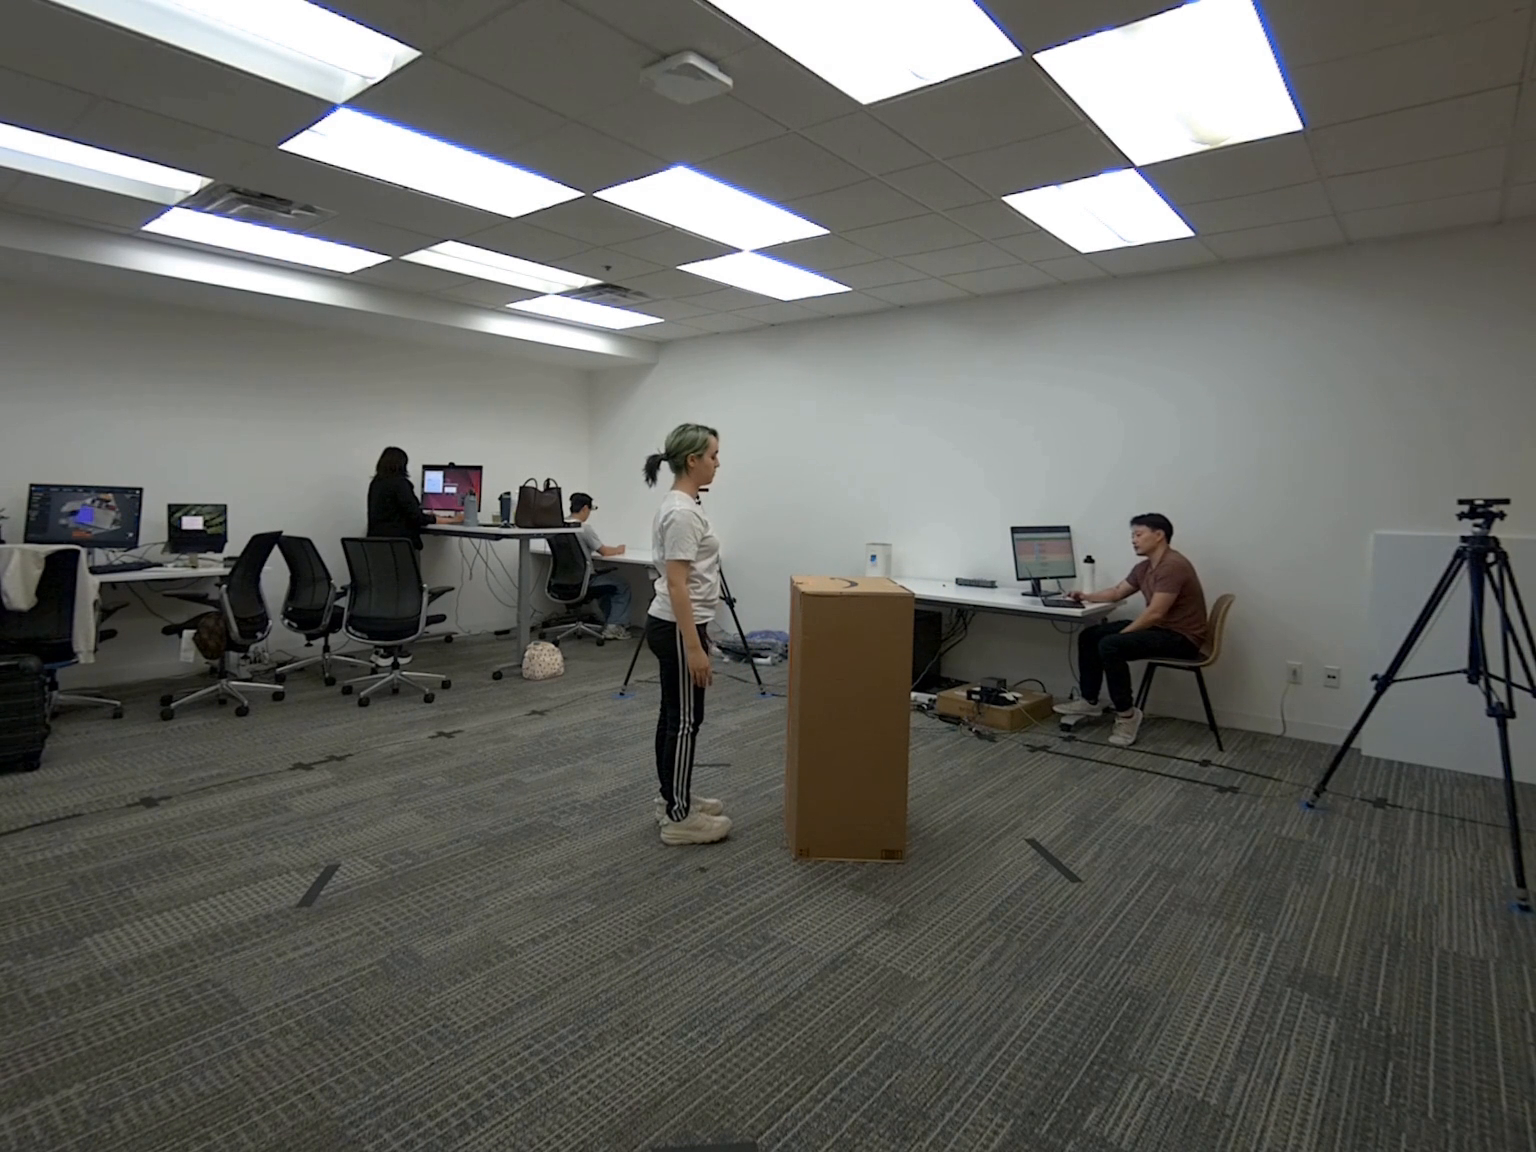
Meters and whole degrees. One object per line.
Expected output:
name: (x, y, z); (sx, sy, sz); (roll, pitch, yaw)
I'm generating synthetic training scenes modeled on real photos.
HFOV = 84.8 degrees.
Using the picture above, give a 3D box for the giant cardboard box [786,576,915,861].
giant cardboard box: (0.297, 0.537, 3.453); (0.446, 1.024, 0.587); (1, 4, -2)
